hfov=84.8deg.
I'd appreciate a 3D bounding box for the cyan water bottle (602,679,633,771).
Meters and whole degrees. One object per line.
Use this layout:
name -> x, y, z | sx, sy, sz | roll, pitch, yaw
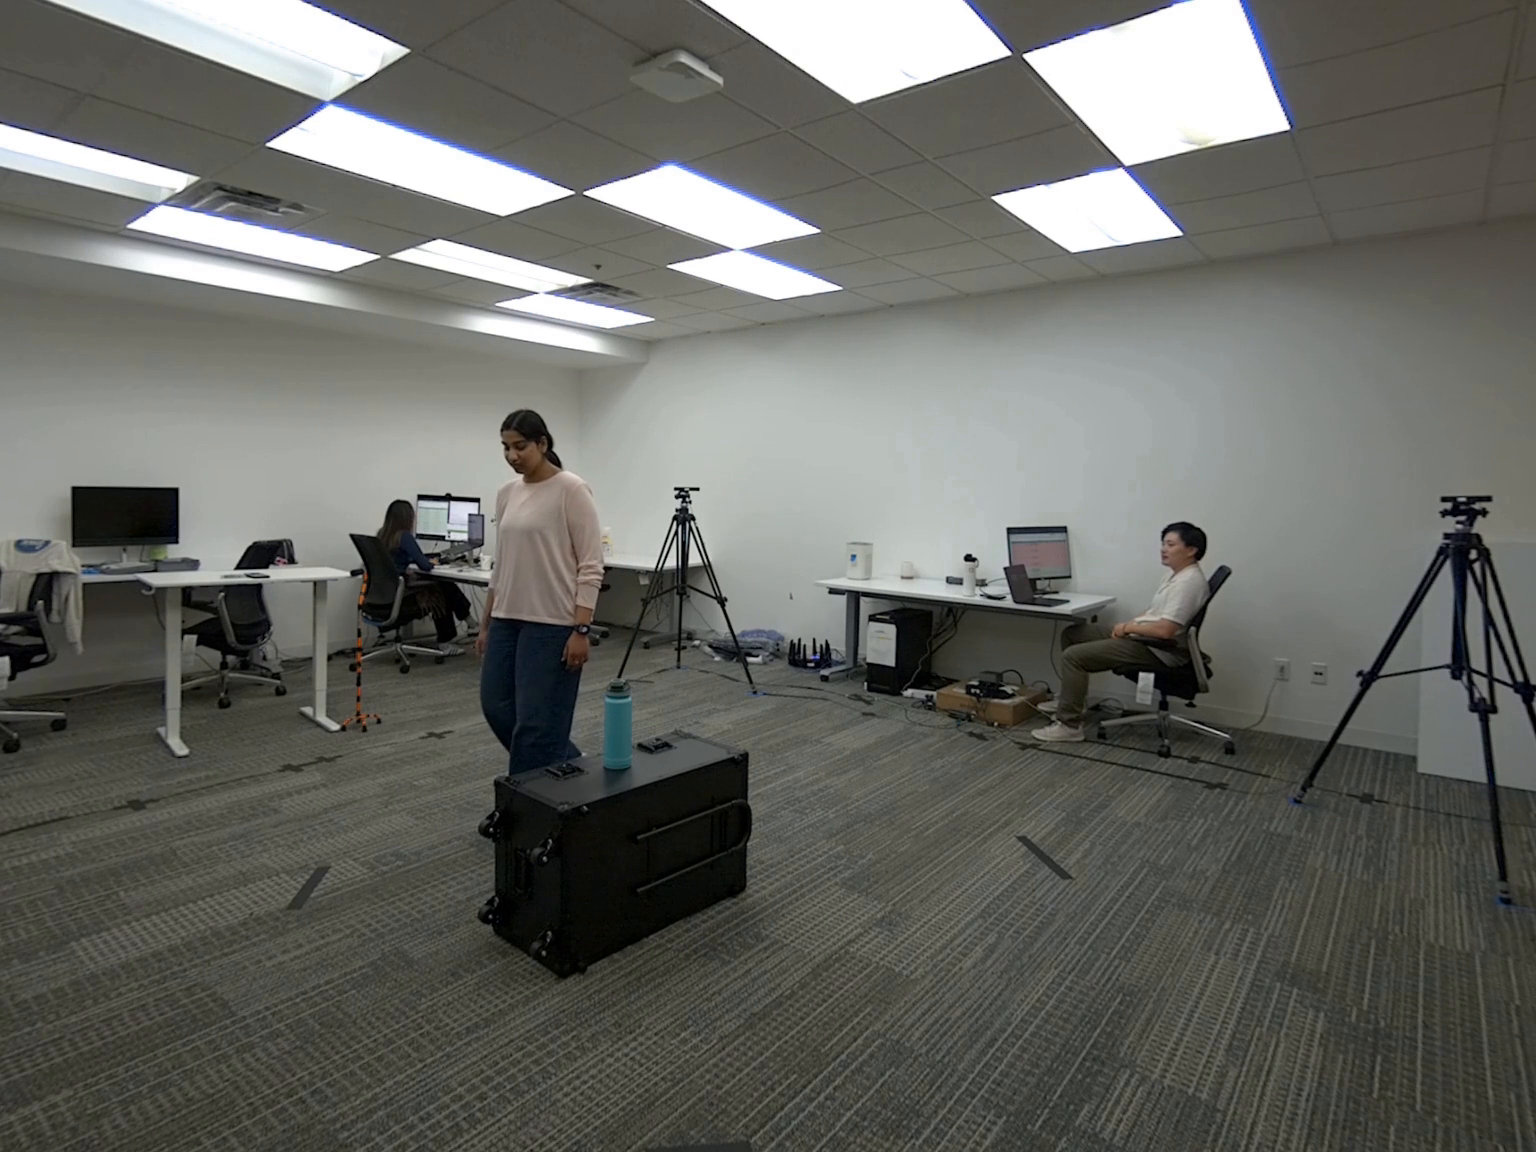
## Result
cyan water bottle -> -0.501, 0.475, 2.765 | 0.092, 0.283, 0.092 | 0, 2, -2
